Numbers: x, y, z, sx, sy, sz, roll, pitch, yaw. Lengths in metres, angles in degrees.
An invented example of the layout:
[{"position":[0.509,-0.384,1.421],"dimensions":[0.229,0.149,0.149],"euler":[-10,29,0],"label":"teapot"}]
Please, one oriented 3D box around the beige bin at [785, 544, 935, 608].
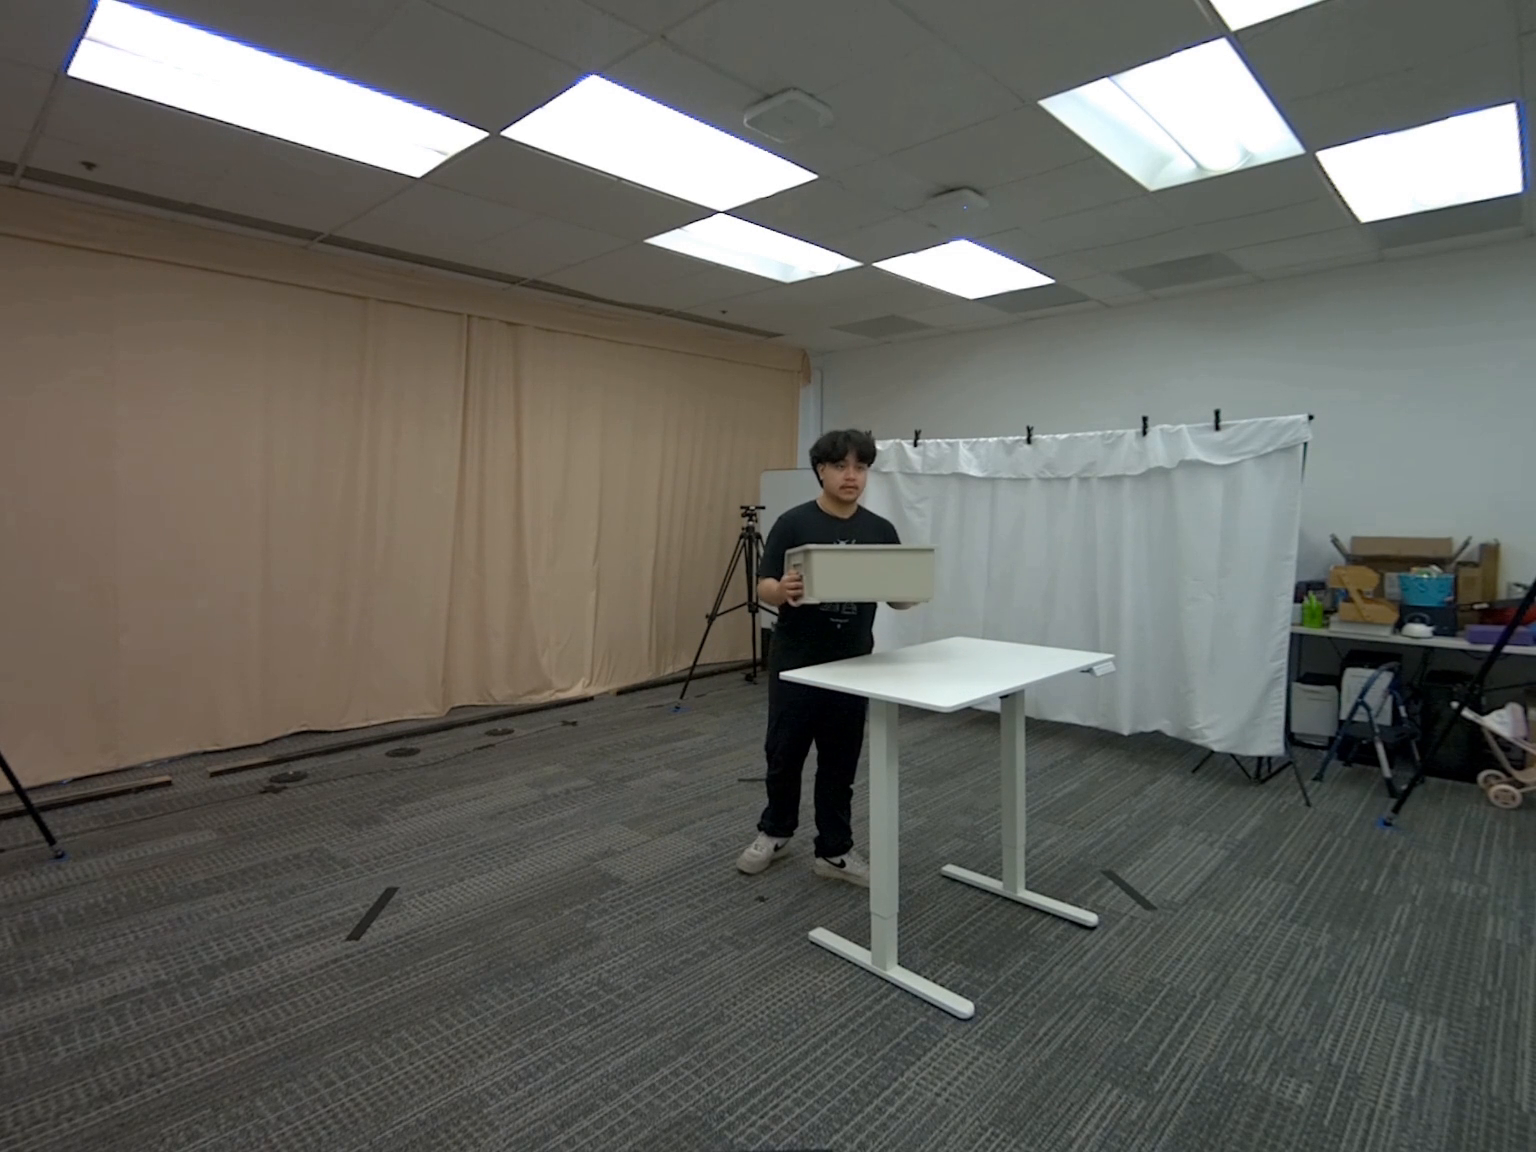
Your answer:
[{"position":[0.293,0.005,2.765],"dimensions":[0.419,0.189,0.380],"euler":[0,0,-8],"label":"beige bin"}]
